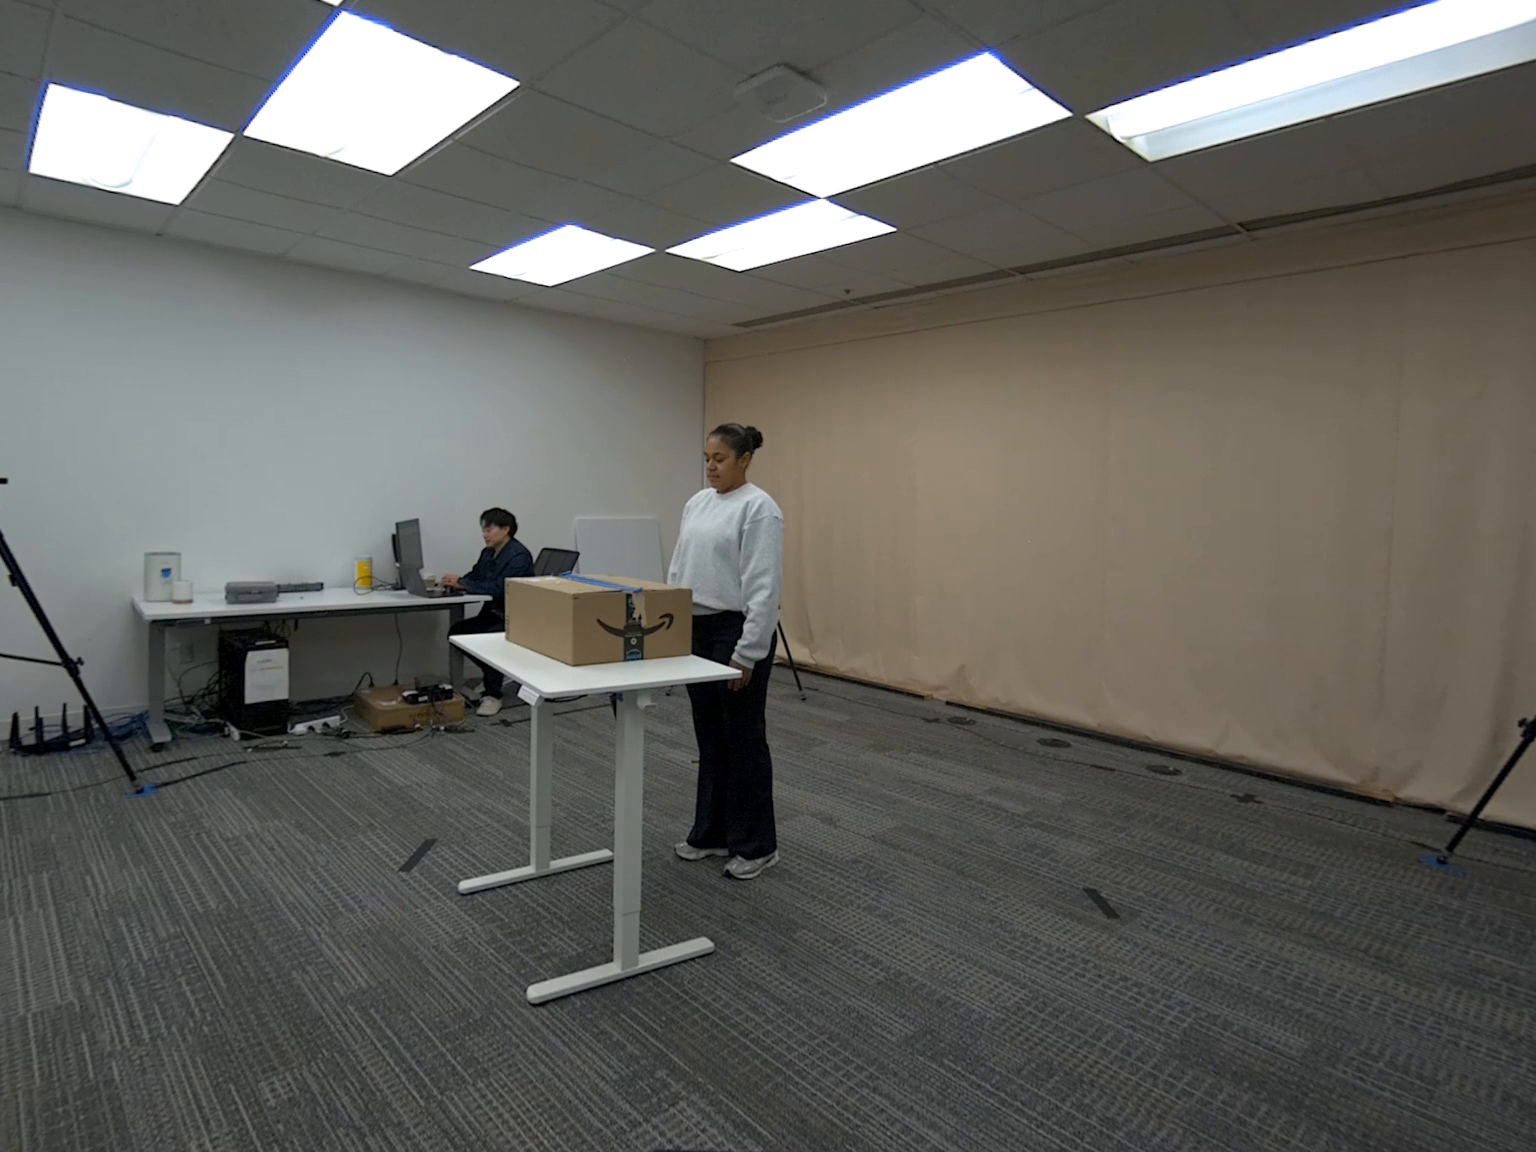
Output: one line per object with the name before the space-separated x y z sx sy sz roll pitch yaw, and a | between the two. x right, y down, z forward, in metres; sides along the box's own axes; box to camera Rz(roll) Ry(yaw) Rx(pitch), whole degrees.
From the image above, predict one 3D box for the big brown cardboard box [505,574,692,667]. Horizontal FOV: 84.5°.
big brown cardboard box | -0.583 0.130 2.825 0.408 0.232 0.604 -2 6 -36
